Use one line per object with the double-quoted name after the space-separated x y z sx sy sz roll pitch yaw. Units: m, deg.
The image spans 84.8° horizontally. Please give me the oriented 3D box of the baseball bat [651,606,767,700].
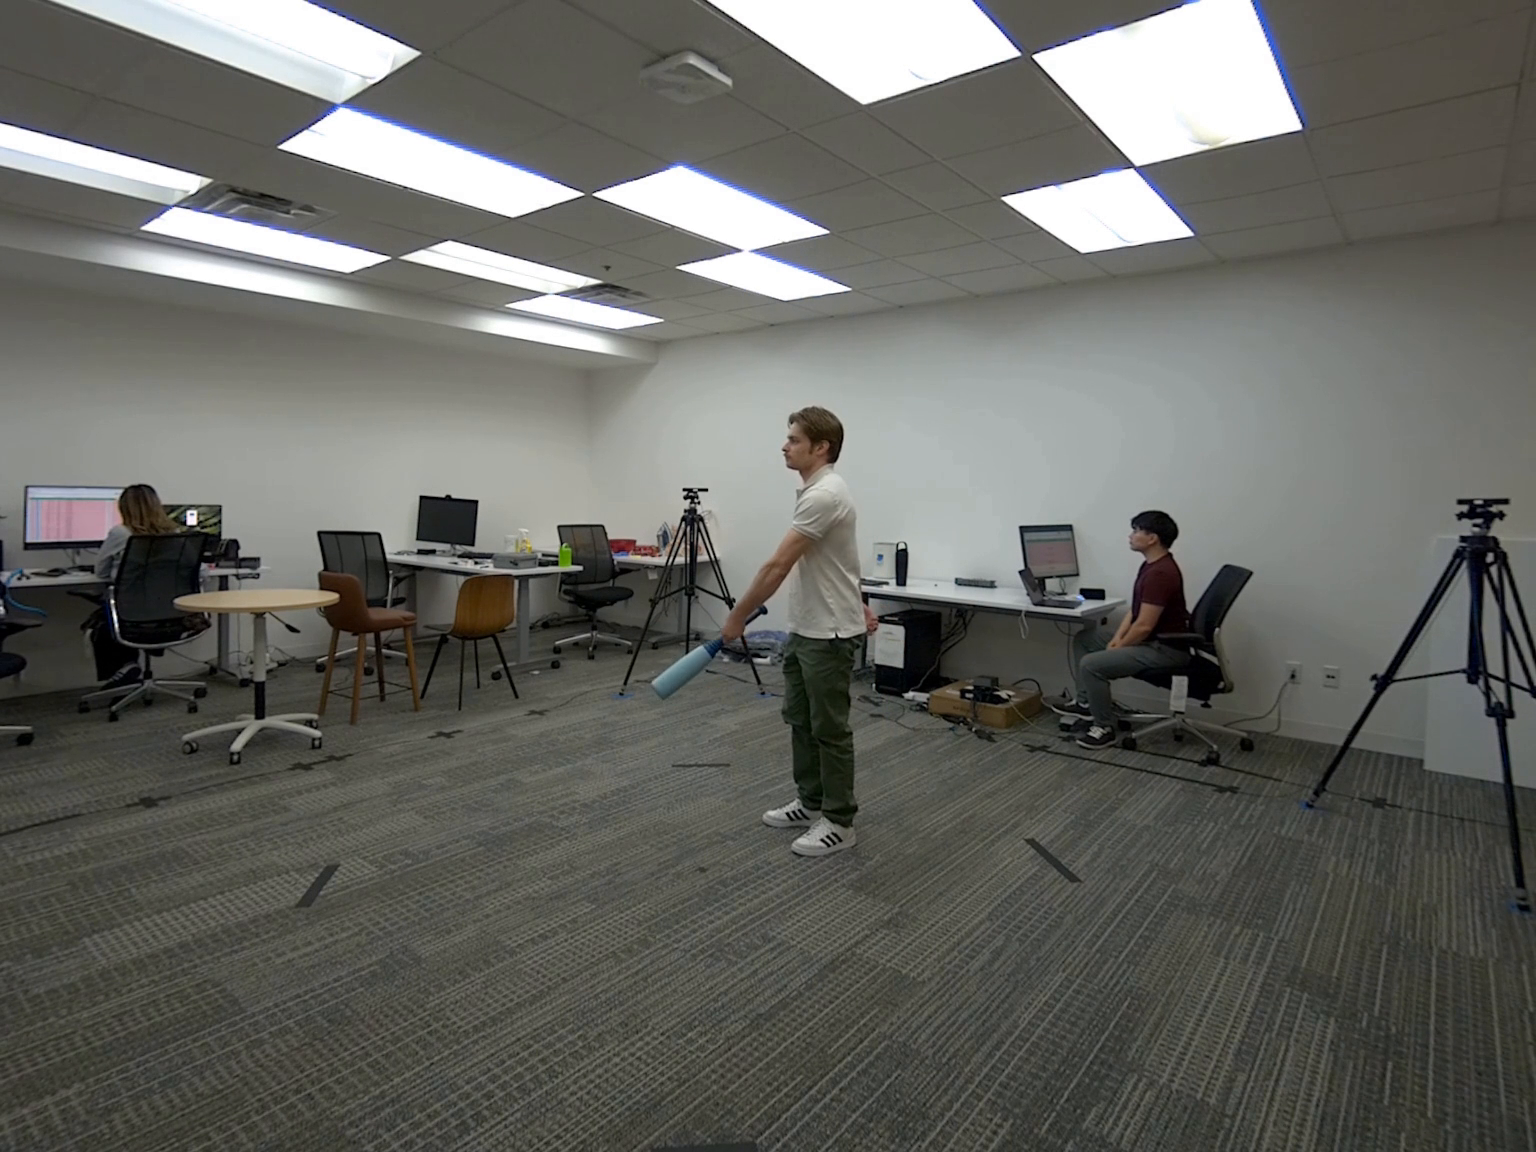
-0.209 0.289 3.315 0.541 0.088 0.091 -37 13 -10 "baseball bat"
